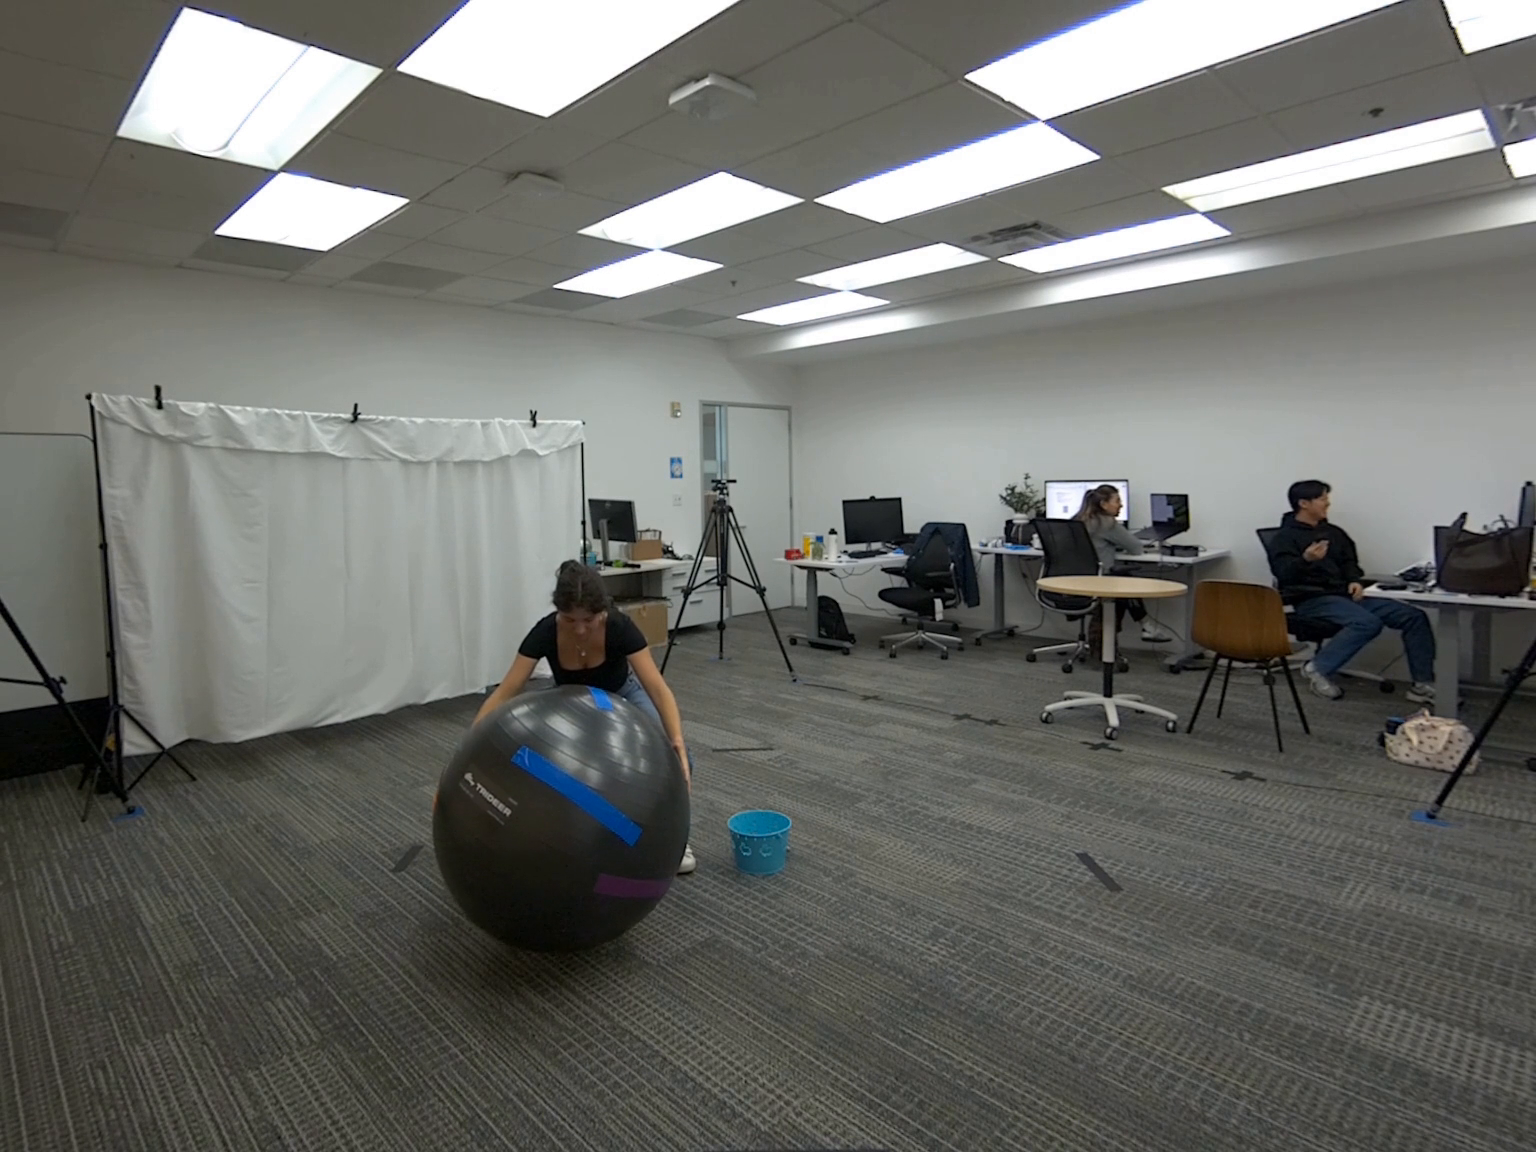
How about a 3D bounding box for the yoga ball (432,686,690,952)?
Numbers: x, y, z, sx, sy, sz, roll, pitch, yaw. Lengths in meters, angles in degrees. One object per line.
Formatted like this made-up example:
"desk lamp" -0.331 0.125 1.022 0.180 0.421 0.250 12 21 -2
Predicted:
"yoga ball" -0.624 0.714 2.562 0.757 0.755 0.762 -1 5 -2
